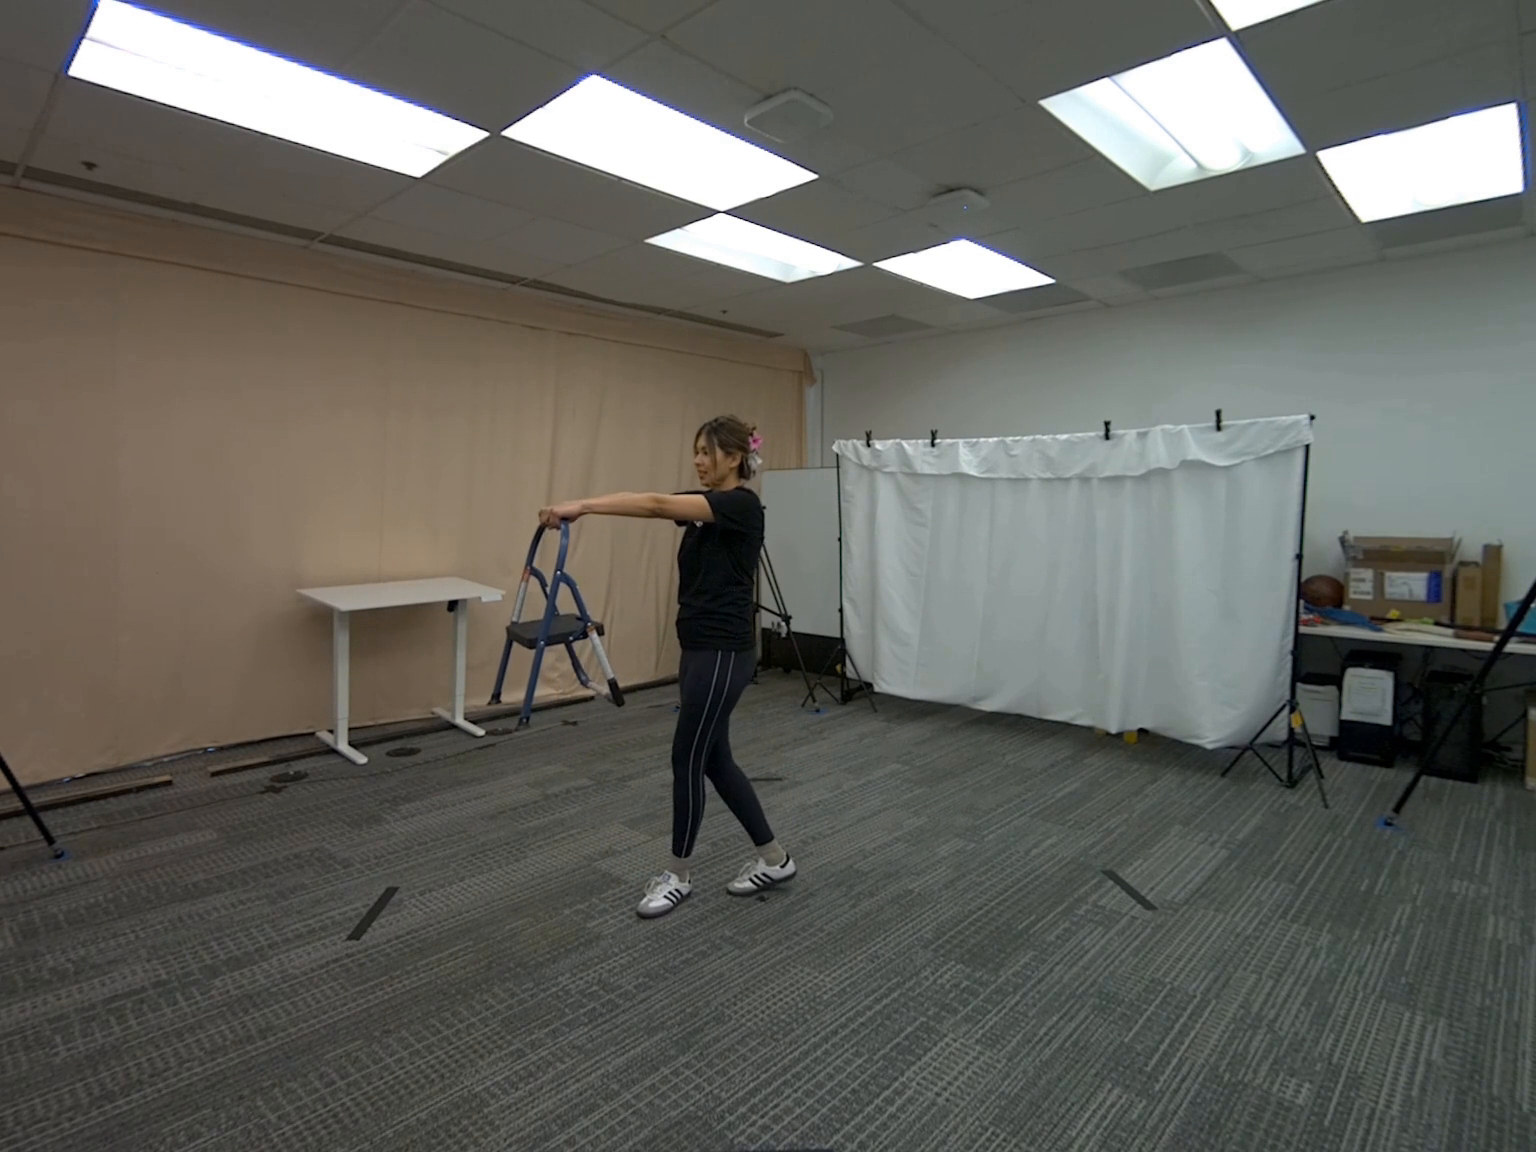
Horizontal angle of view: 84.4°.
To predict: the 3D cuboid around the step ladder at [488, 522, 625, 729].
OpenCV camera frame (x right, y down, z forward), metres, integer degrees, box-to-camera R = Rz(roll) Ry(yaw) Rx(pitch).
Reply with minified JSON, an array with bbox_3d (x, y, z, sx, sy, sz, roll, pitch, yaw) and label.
[{"bbox_3d":[-0.719,0.122,2.705,0.341,0.604,0.442,-8,5,-29],"label":"step ladder"}]
